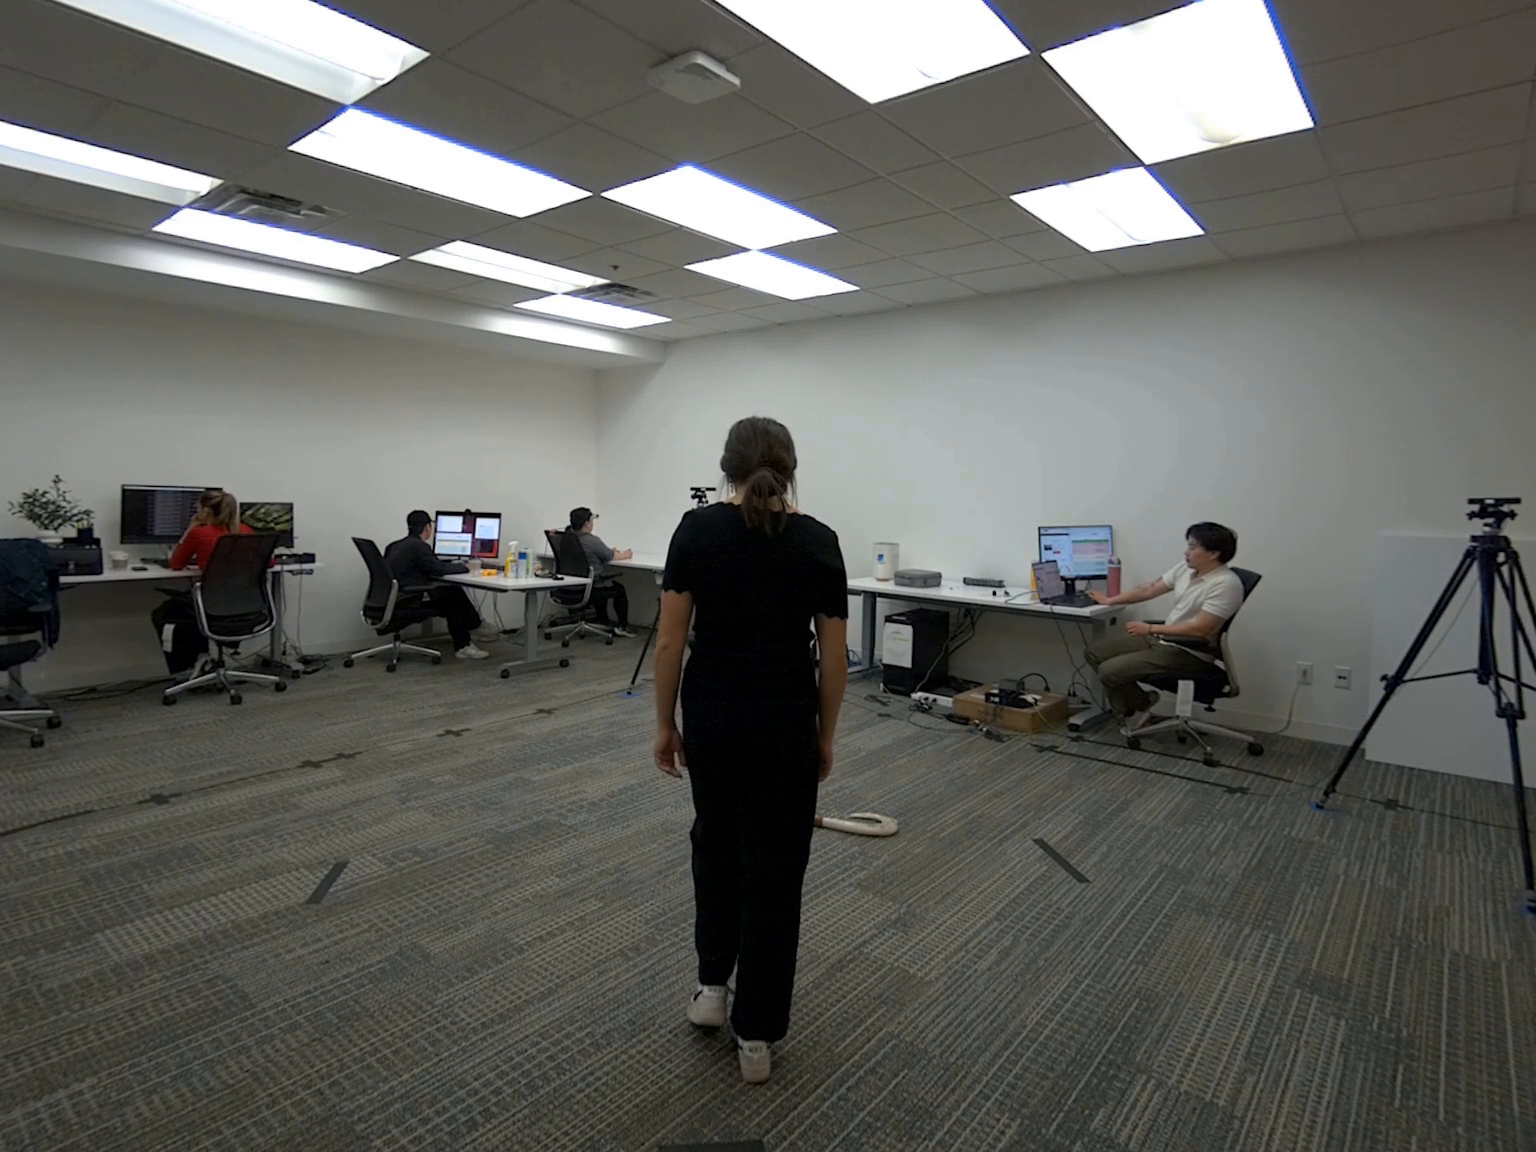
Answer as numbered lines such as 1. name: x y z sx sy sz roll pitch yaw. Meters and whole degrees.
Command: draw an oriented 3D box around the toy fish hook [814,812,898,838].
1. toy fish hook: 0.273 1.016 3.552 0.512 0.048 0.221 3 -2 10
